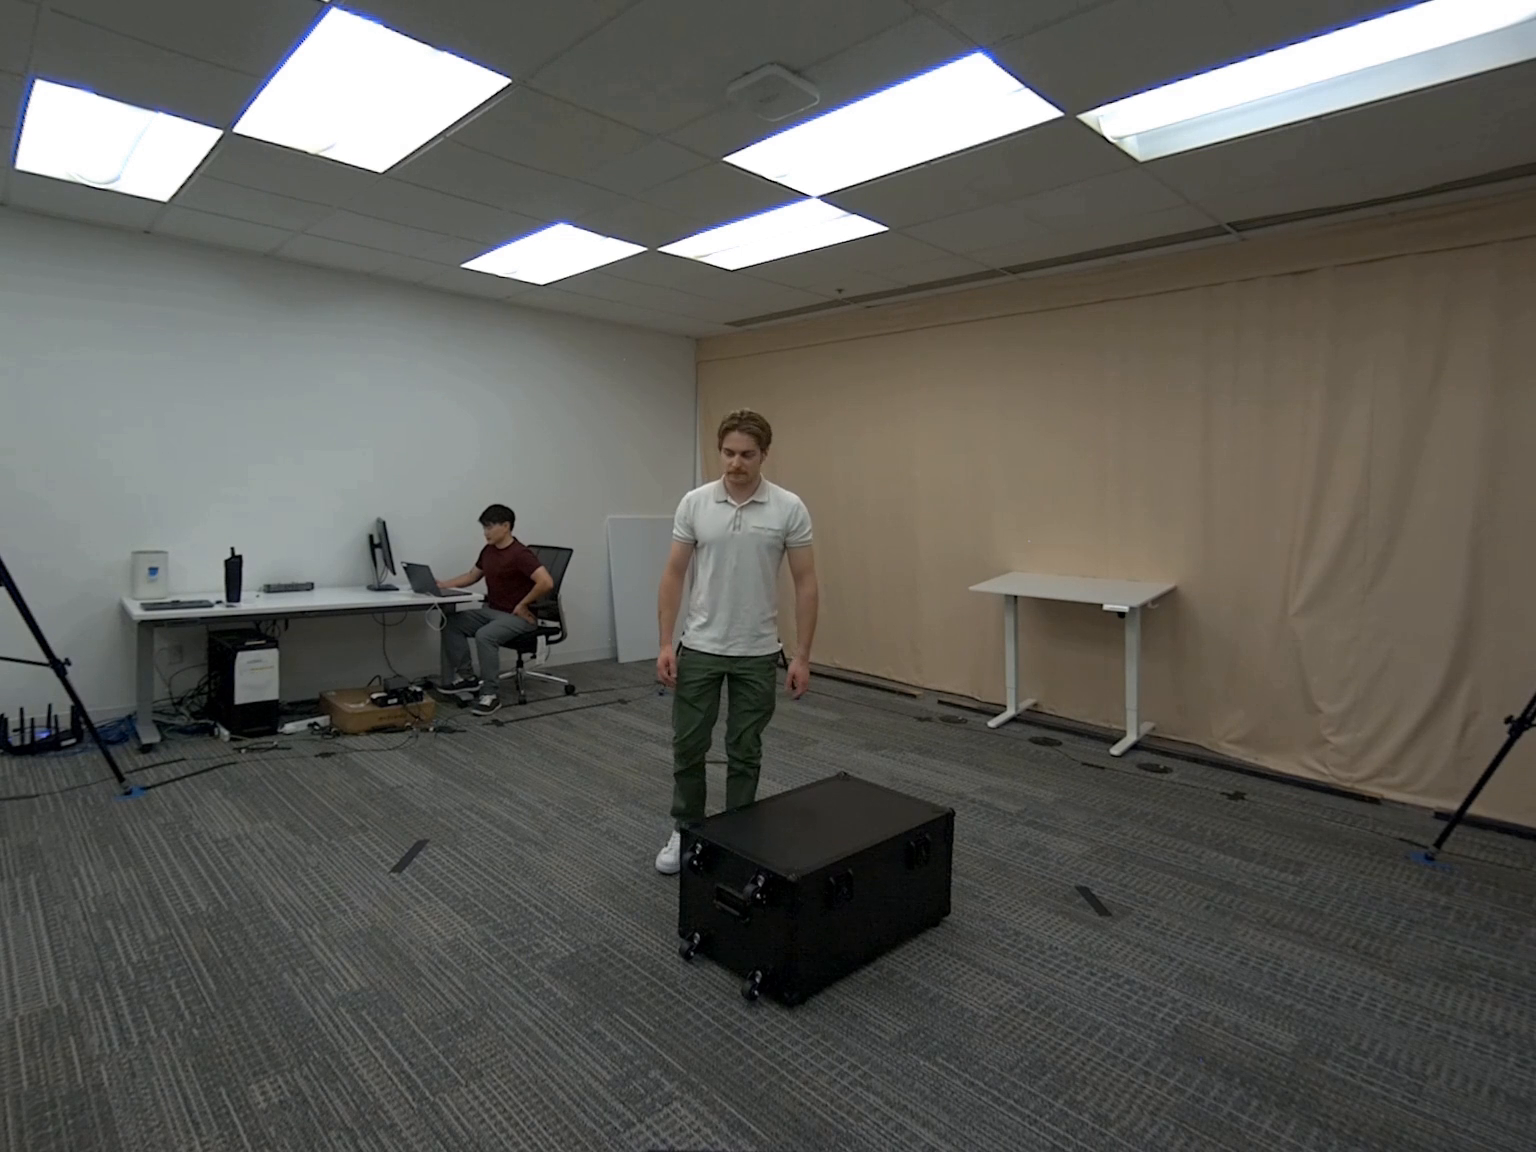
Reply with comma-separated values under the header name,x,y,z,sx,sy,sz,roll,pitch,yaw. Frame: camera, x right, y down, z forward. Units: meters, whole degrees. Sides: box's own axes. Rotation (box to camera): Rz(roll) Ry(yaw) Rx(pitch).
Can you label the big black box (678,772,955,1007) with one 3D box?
name,x,y,z,sx,sy,sz,roll,pitch,yaw
big black box,0.133,0.954,2.679,0.849,0.384,0.537,-4,8,-43
